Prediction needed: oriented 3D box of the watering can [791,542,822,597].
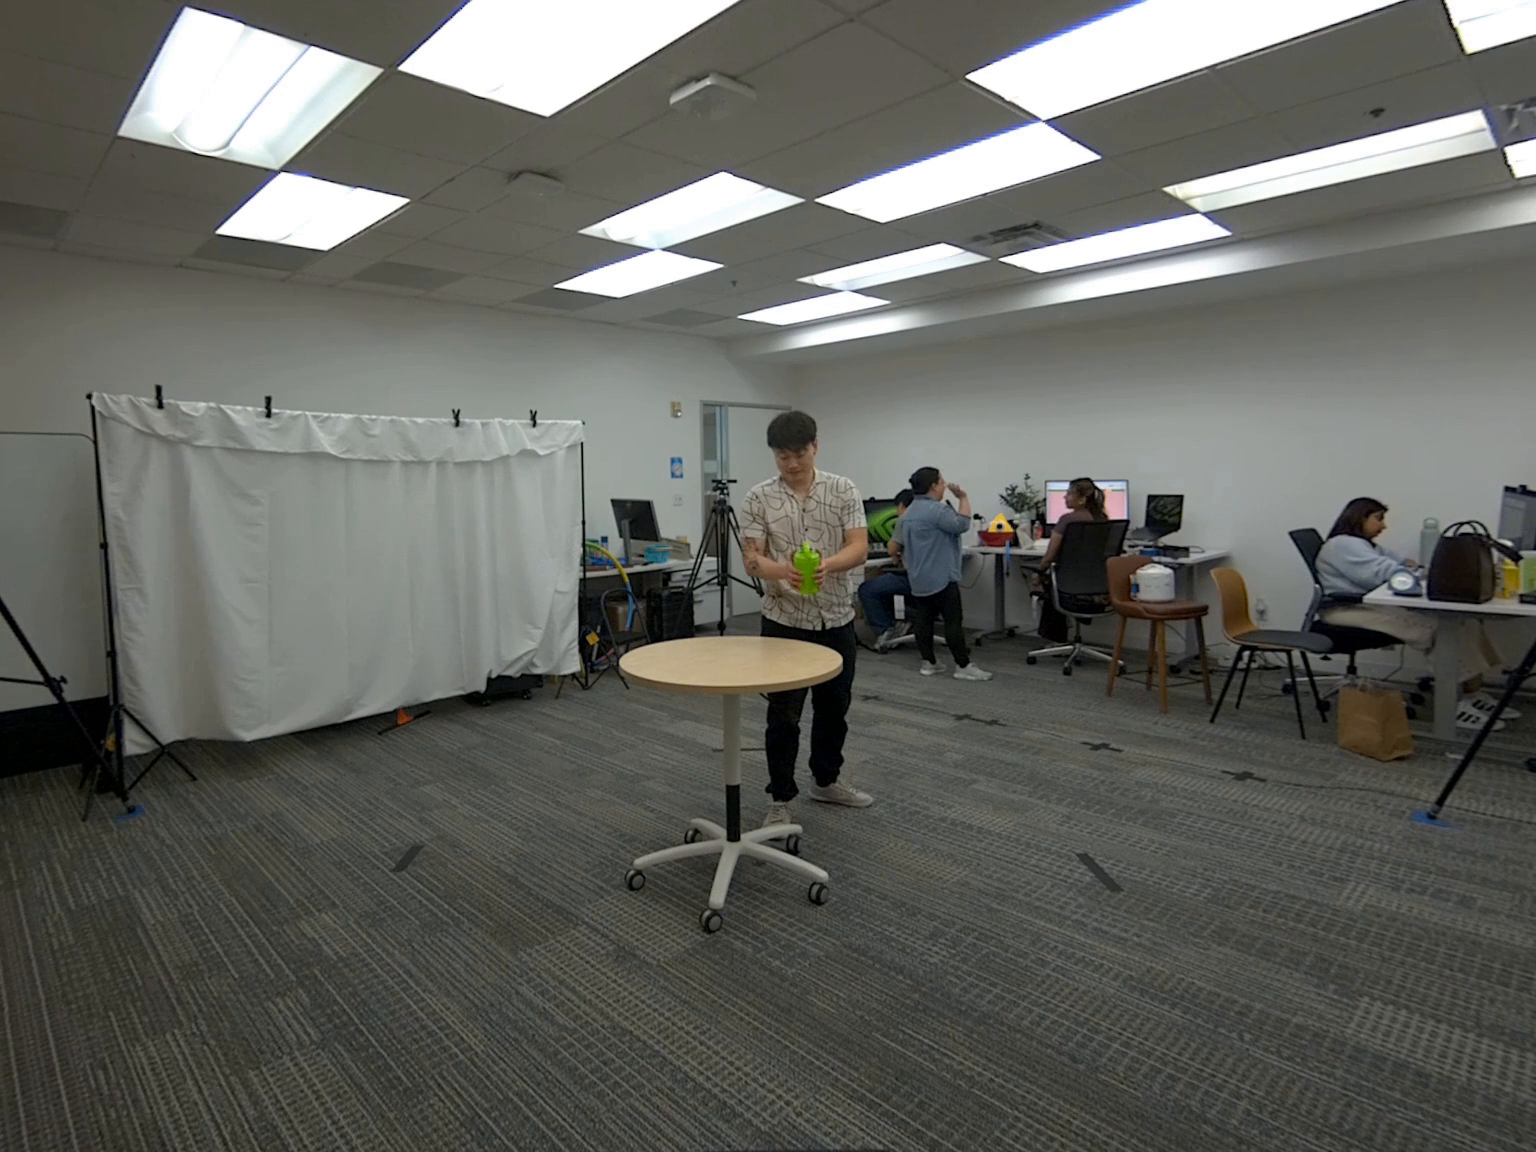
[{"bbox_3d":[0.135,-0.021,3.076,0.099,0.174,0.279,-5,14,9],"label":"watering can"}]
